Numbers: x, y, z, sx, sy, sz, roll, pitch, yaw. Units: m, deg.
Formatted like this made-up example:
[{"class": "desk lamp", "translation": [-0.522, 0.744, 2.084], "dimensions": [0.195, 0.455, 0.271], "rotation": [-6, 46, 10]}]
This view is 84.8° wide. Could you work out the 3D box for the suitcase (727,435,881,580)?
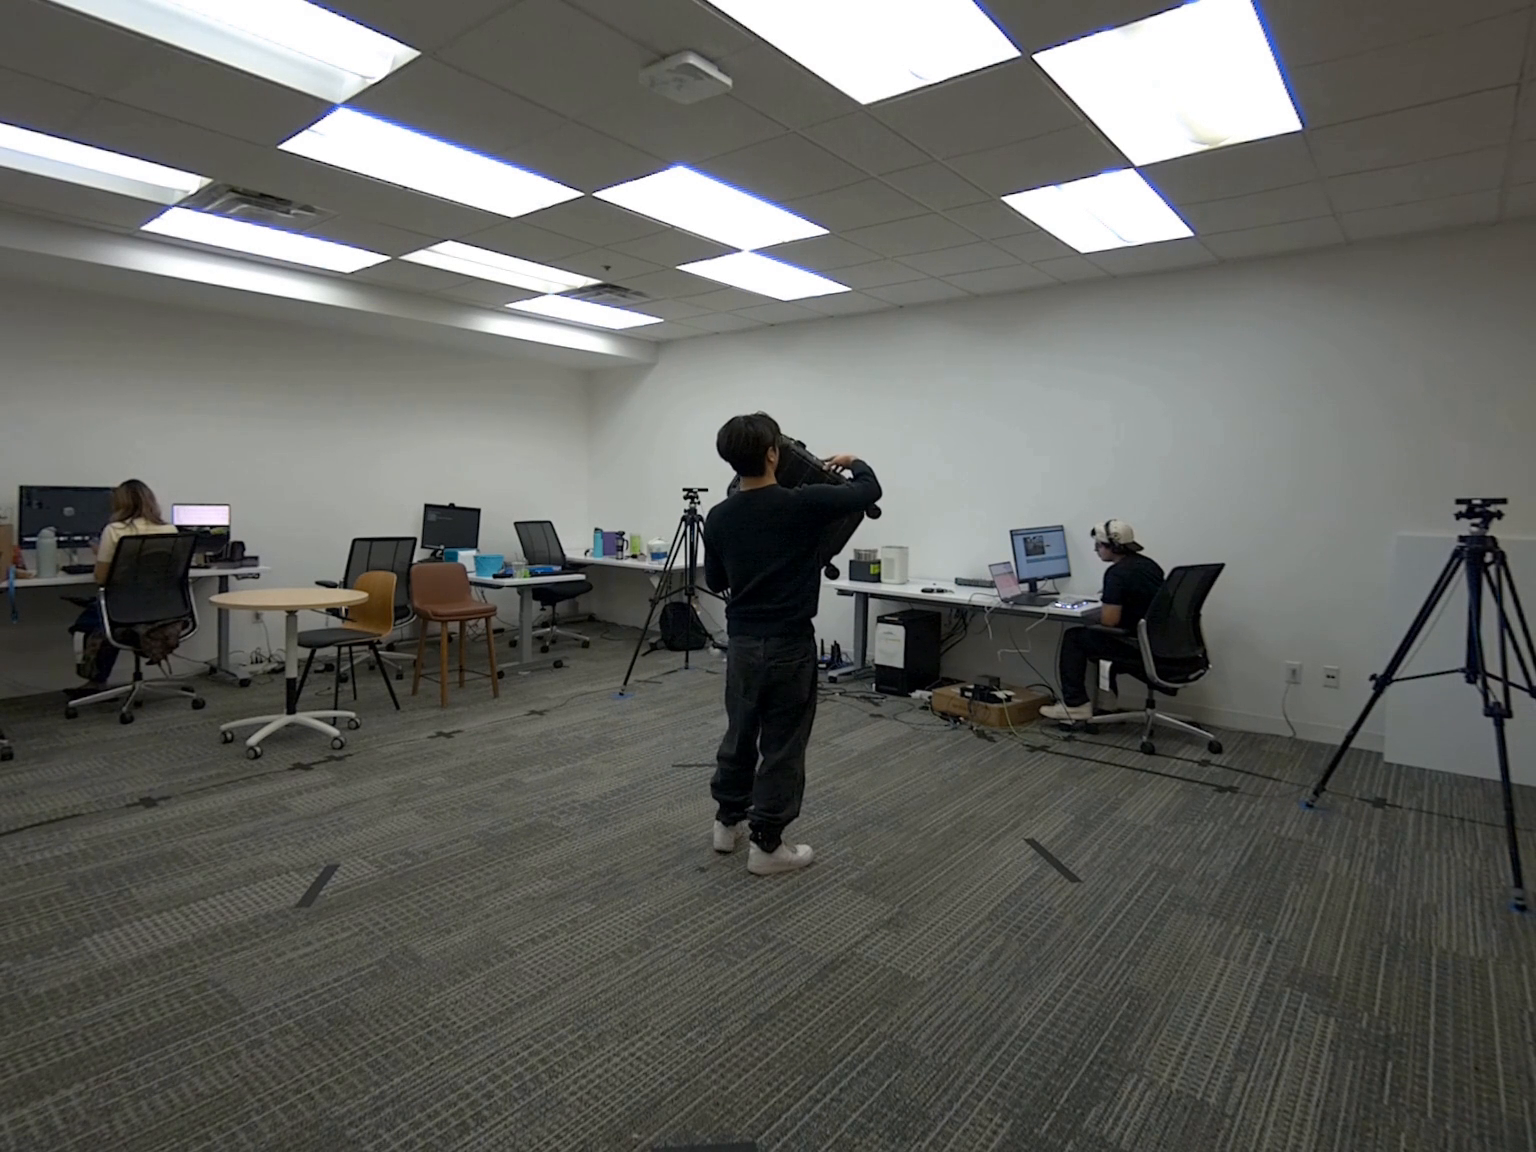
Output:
[{"class": "suitcase", "translation": [0.113, -0.305, 3.432], "dimensions": [0.540, 0.375, 0.253], "rotation": [35, 5, -12]}]
